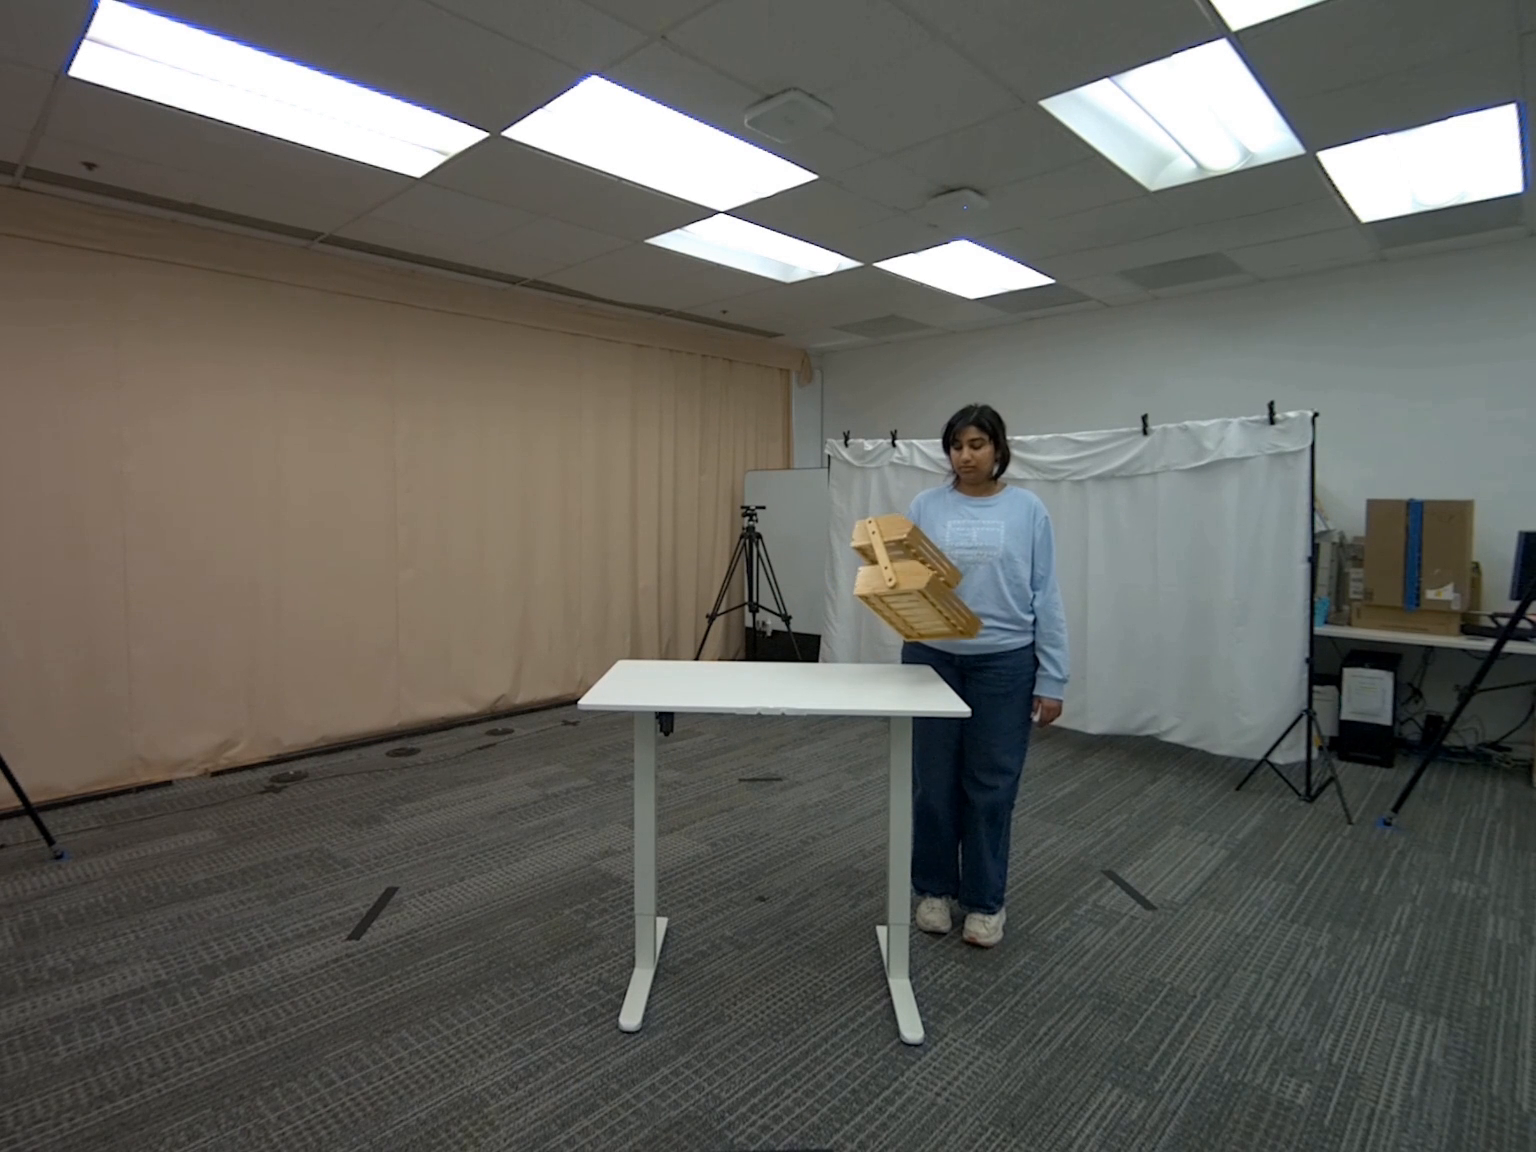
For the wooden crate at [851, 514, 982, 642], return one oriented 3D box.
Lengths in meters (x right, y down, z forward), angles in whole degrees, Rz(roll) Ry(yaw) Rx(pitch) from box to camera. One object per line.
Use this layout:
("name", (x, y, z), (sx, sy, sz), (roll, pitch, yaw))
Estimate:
("wooden crate", (0.447, 0.001, 2.477), (0.310, 0.275, 0.313), (-9, -36, 41))
